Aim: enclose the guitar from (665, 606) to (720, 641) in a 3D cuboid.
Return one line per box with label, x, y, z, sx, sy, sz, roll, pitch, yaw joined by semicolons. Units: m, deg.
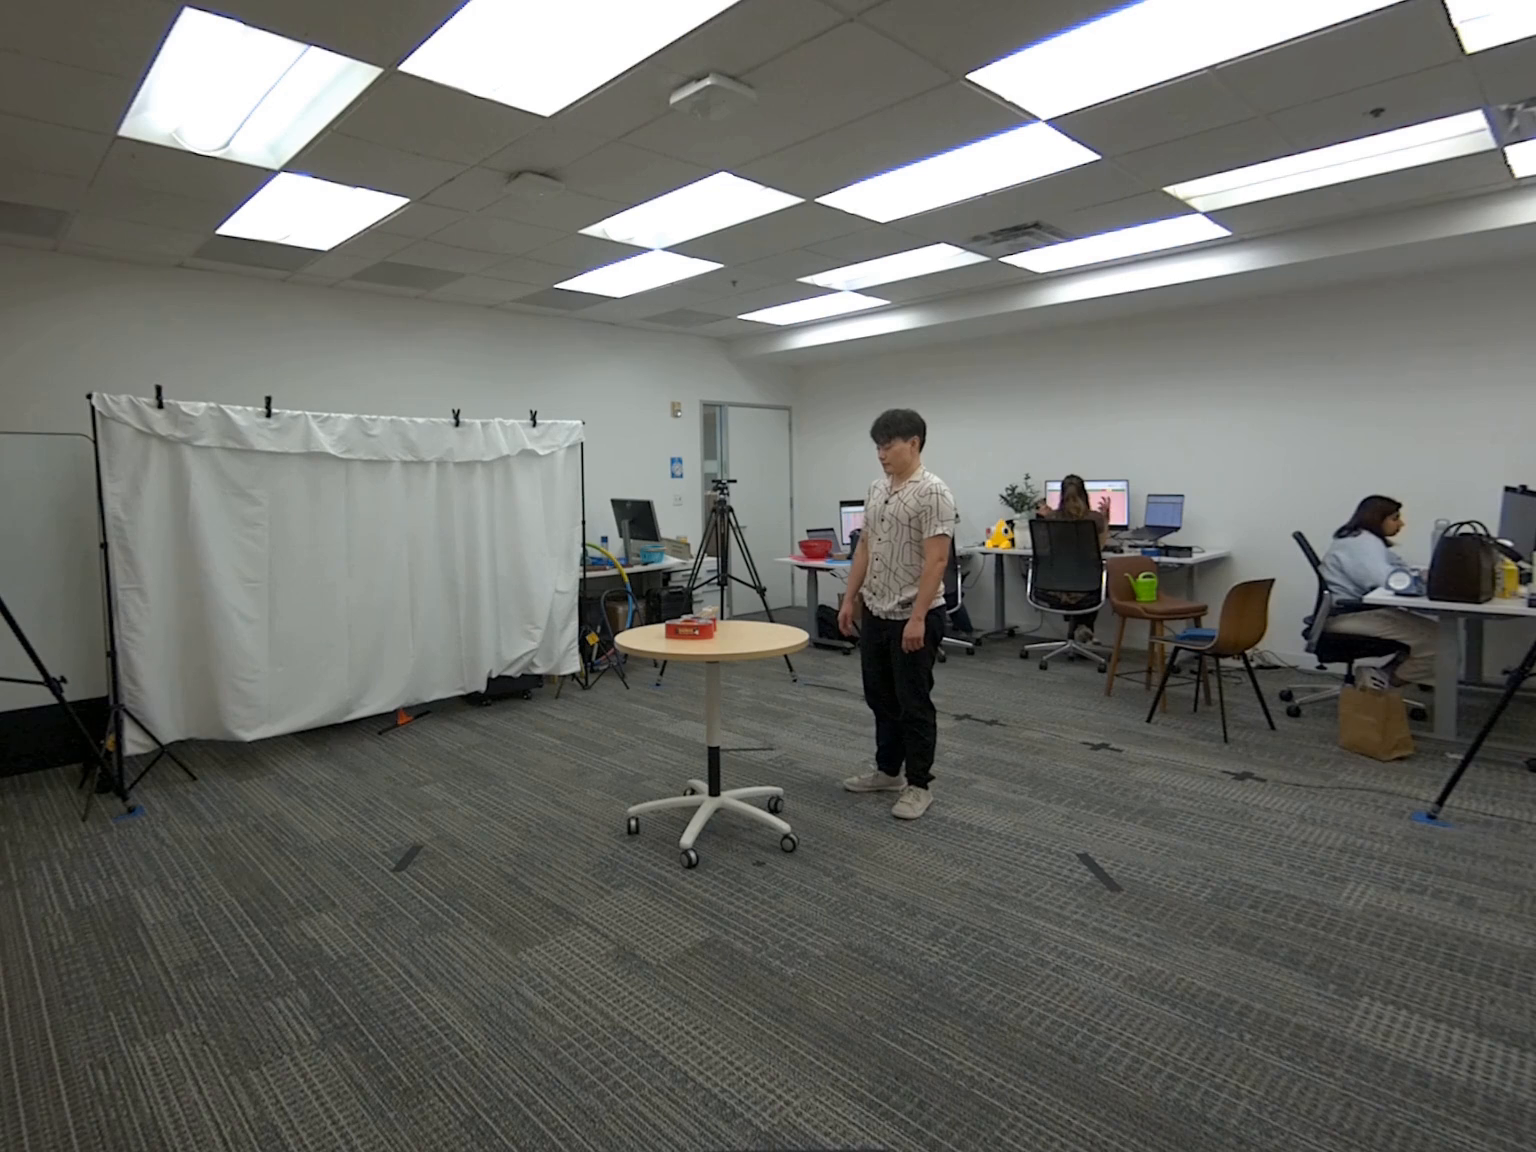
guitar;-0.248;0.187;3.534;0.197;0.070;0.490;0;6;20
